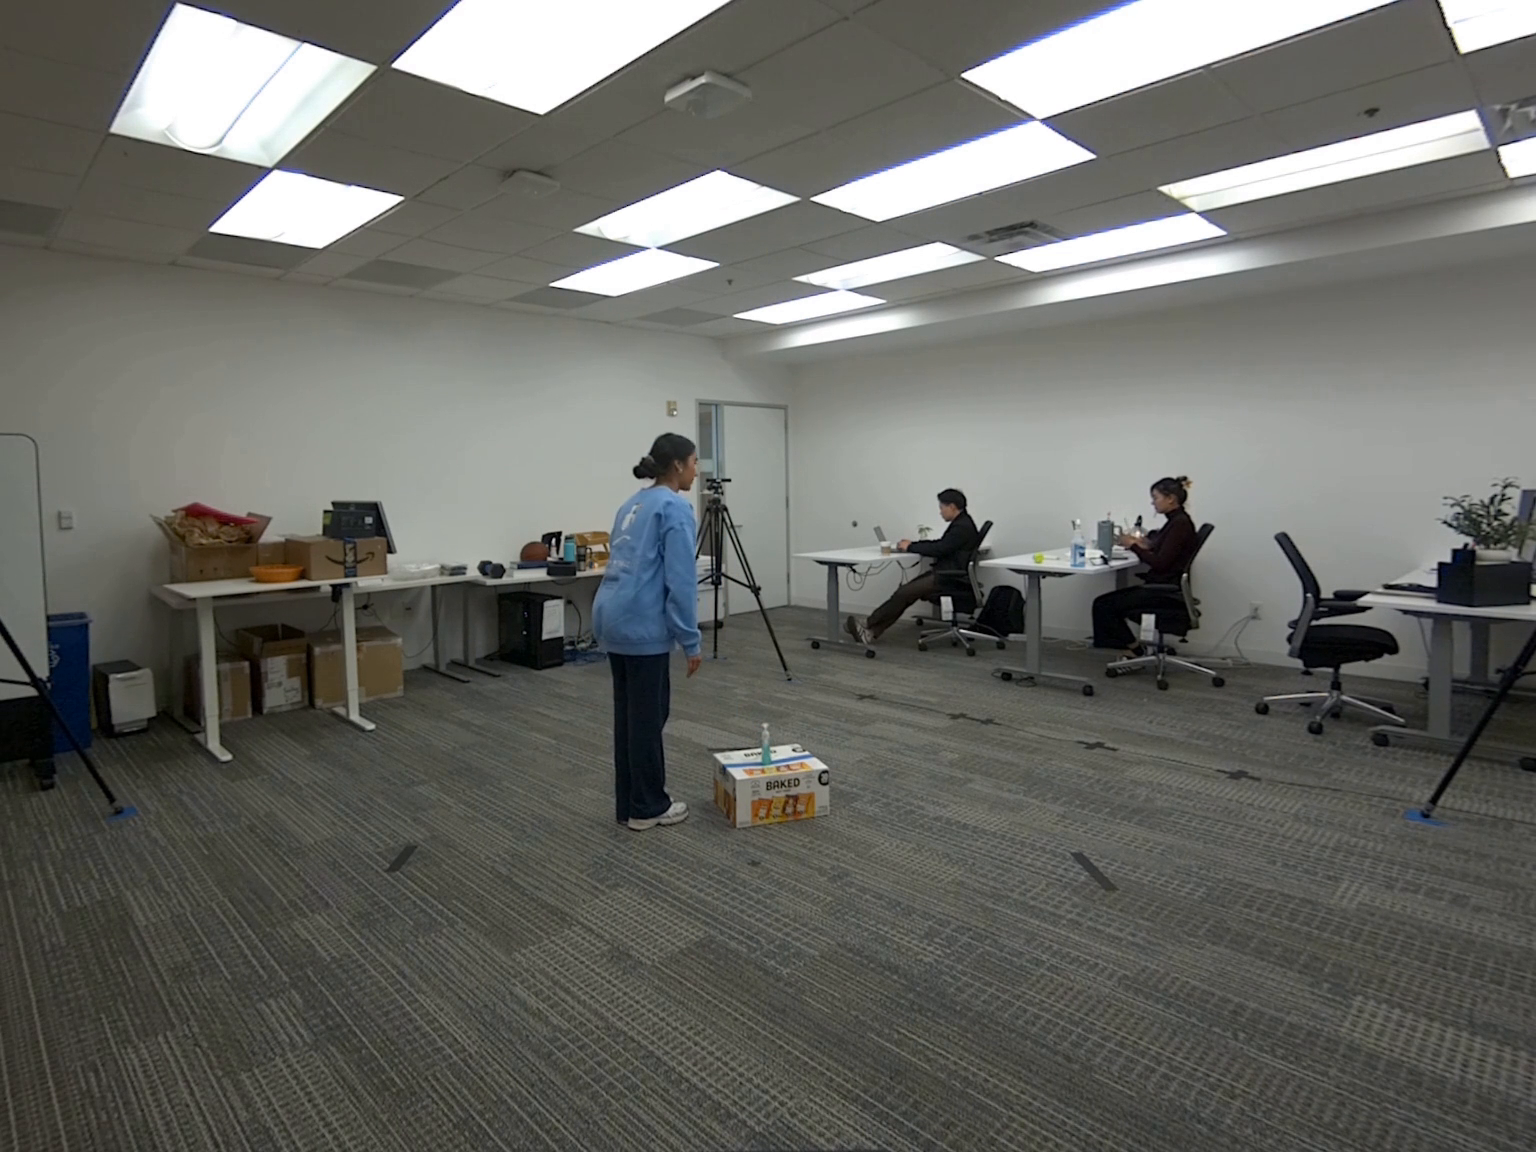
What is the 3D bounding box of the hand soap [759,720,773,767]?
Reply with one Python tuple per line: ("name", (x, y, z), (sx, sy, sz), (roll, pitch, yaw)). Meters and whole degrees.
("hand soap", (-0.010, 0.704, 3.611), (0.044, 0.167, 0.084), (2, 5, 8))
